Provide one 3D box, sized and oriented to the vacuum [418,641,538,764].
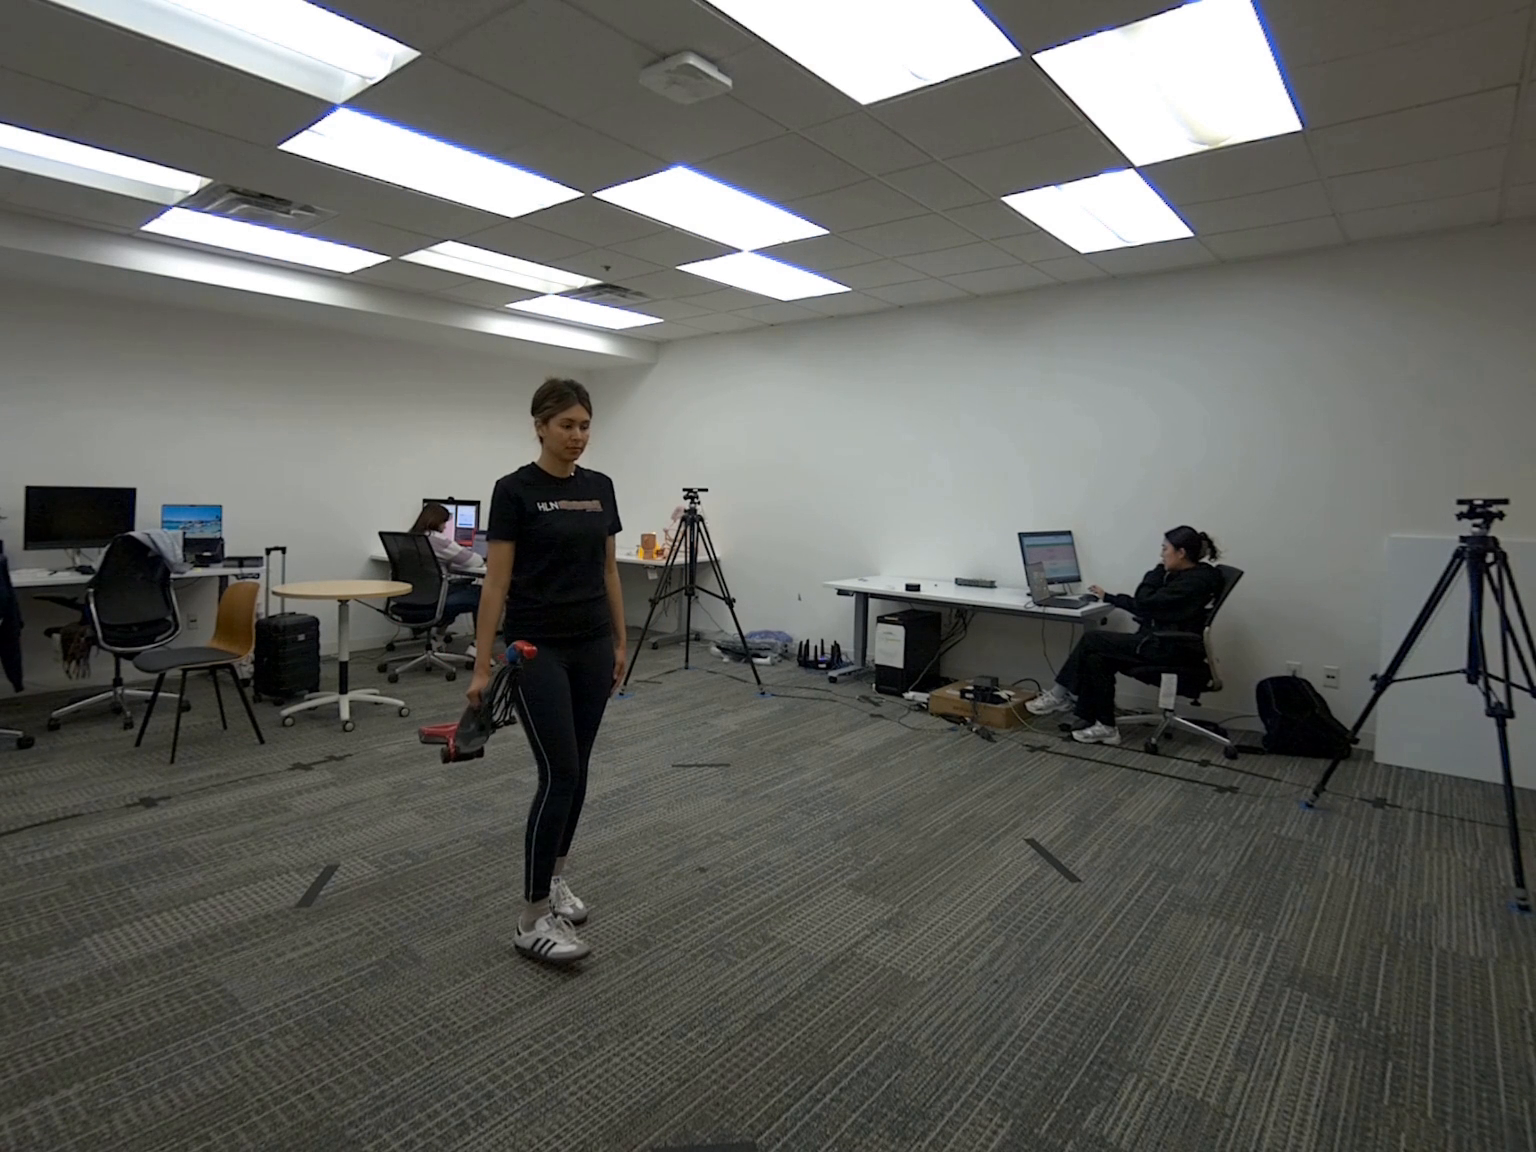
[{"bbox_3d":[-0.820,0.375,2.433,0.246,0.147,1.053,-1,-21,-29],"label":"vacuum"}]
